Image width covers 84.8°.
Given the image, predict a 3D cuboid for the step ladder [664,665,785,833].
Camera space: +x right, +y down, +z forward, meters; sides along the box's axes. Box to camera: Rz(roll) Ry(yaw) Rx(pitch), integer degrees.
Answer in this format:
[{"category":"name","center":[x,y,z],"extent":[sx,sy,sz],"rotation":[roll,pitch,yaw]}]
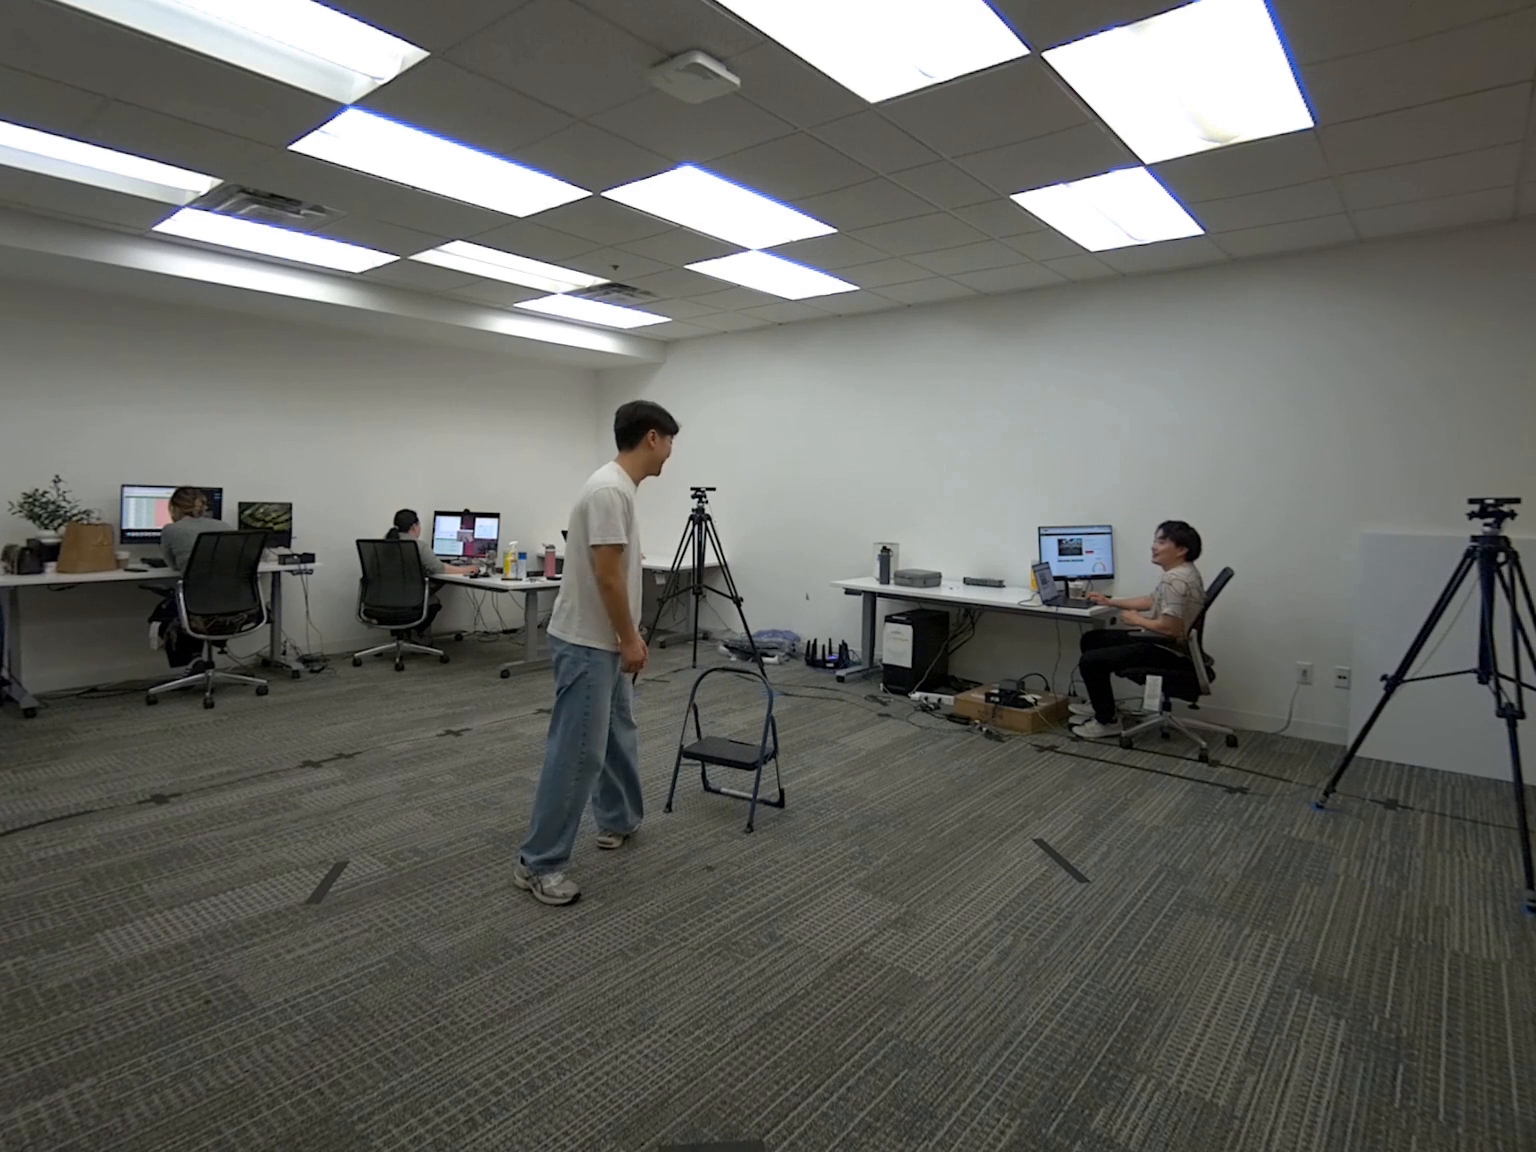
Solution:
[{"category":"step ladder","center":[-0.185,0.707,3.677],"extent":[0.443,0.604,0.340],"rotation":[3,4,28]}]
